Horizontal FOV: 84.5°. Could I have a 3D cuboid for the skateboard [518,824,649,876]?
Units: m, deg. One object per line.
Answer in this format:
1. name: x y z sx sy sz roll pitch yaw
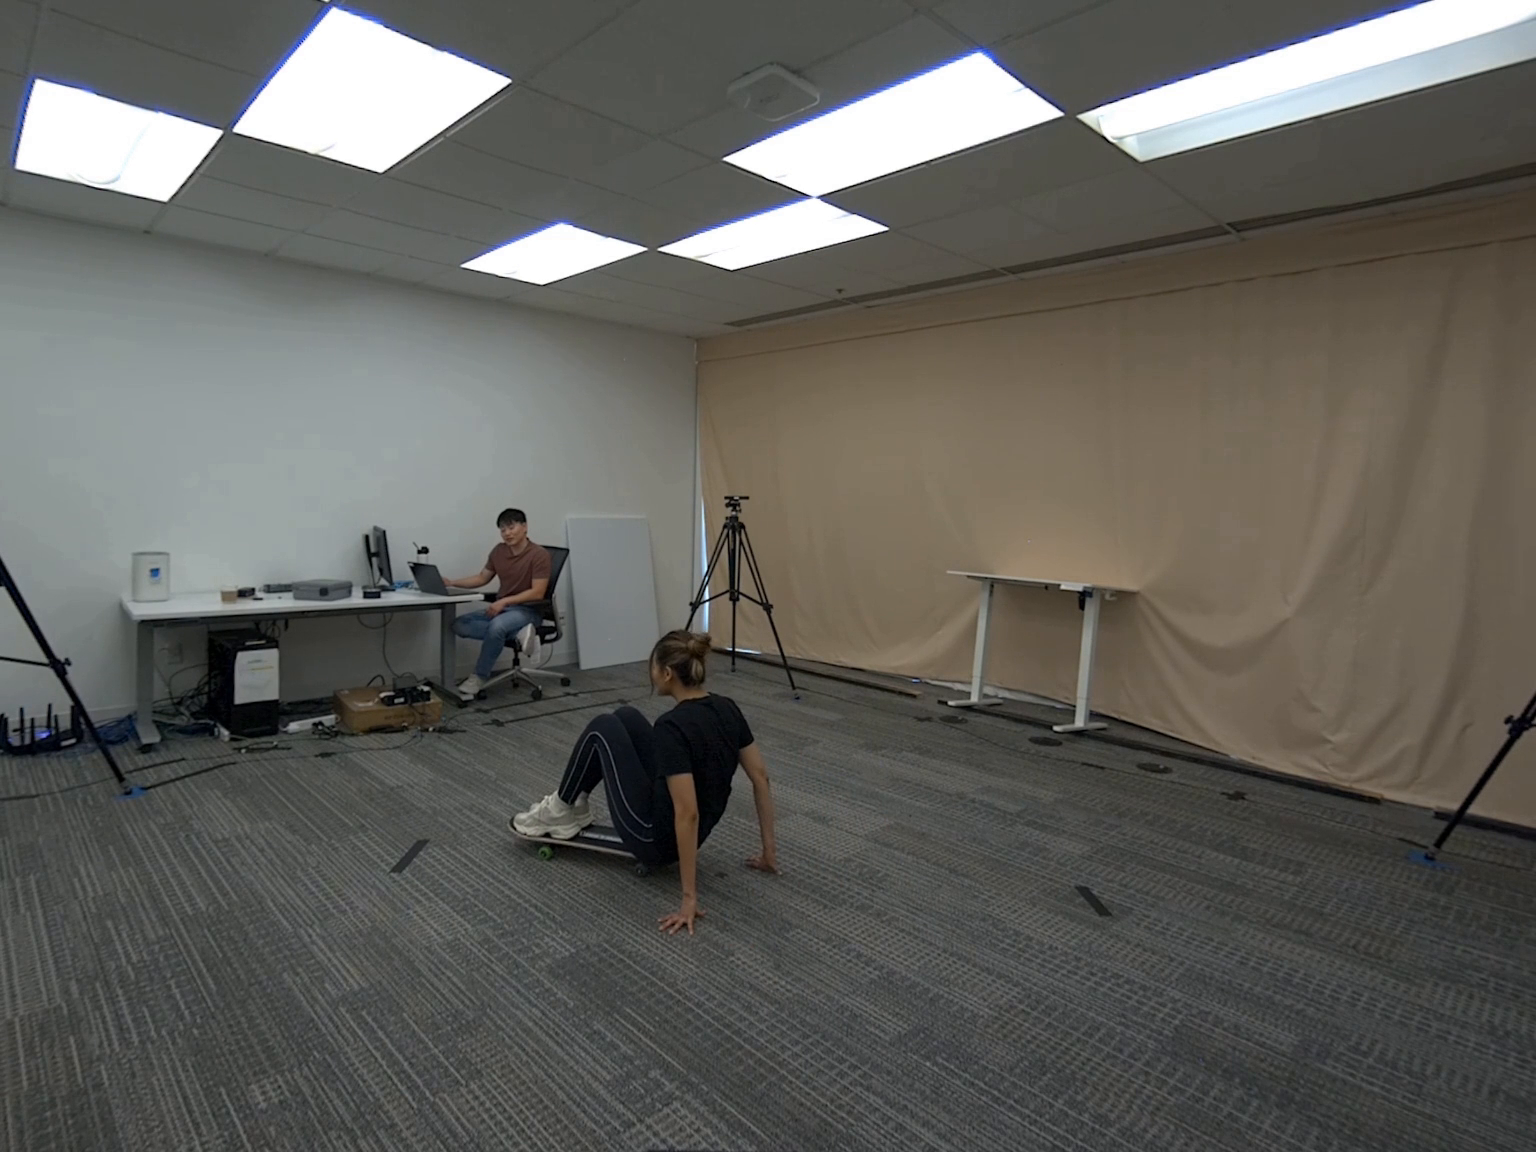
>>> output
1. skateboard: -0.632 1.030 3.218 0.797 0.110 0.191 4 3 18
